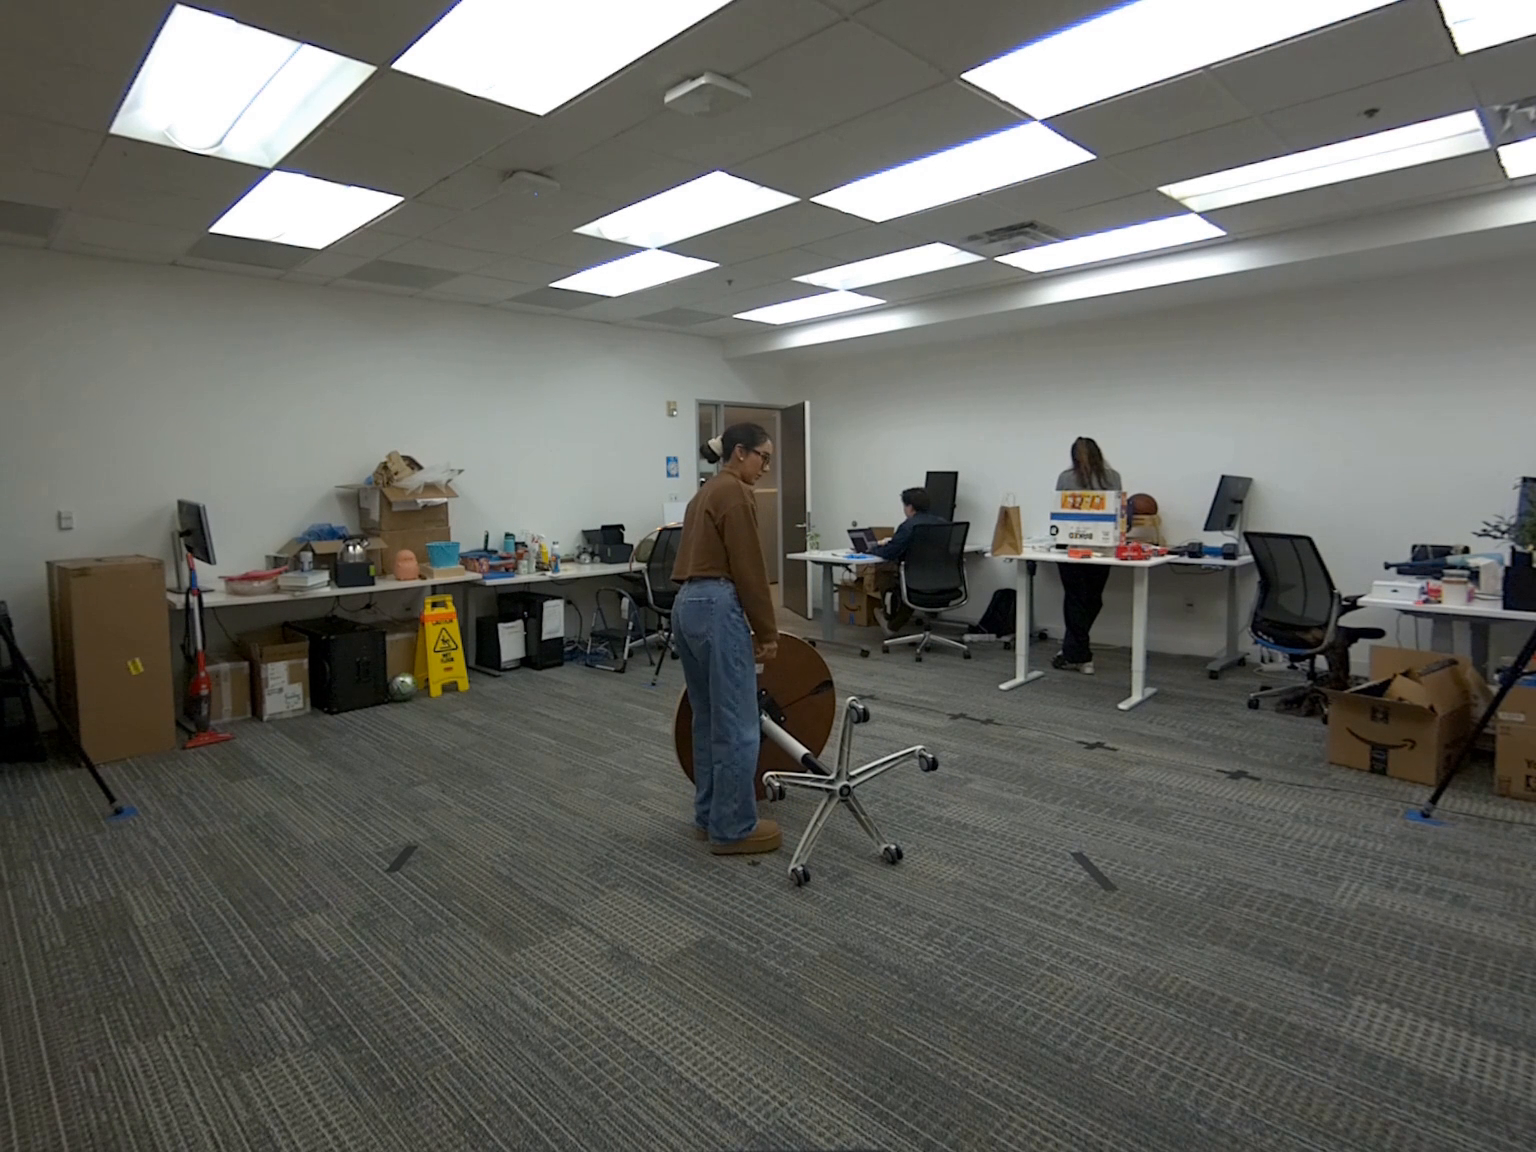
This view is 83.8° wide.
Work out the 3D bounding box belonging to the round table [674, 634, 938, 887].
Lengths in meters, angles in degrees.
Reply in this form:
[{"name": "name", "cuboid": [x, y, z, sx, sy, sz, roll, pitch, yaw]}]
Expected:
[{"name": "round table", "cuboid": [0.134, 0.688, 3.300, 0.748, 0.757, 0.818, -3, 13, -26]}]
